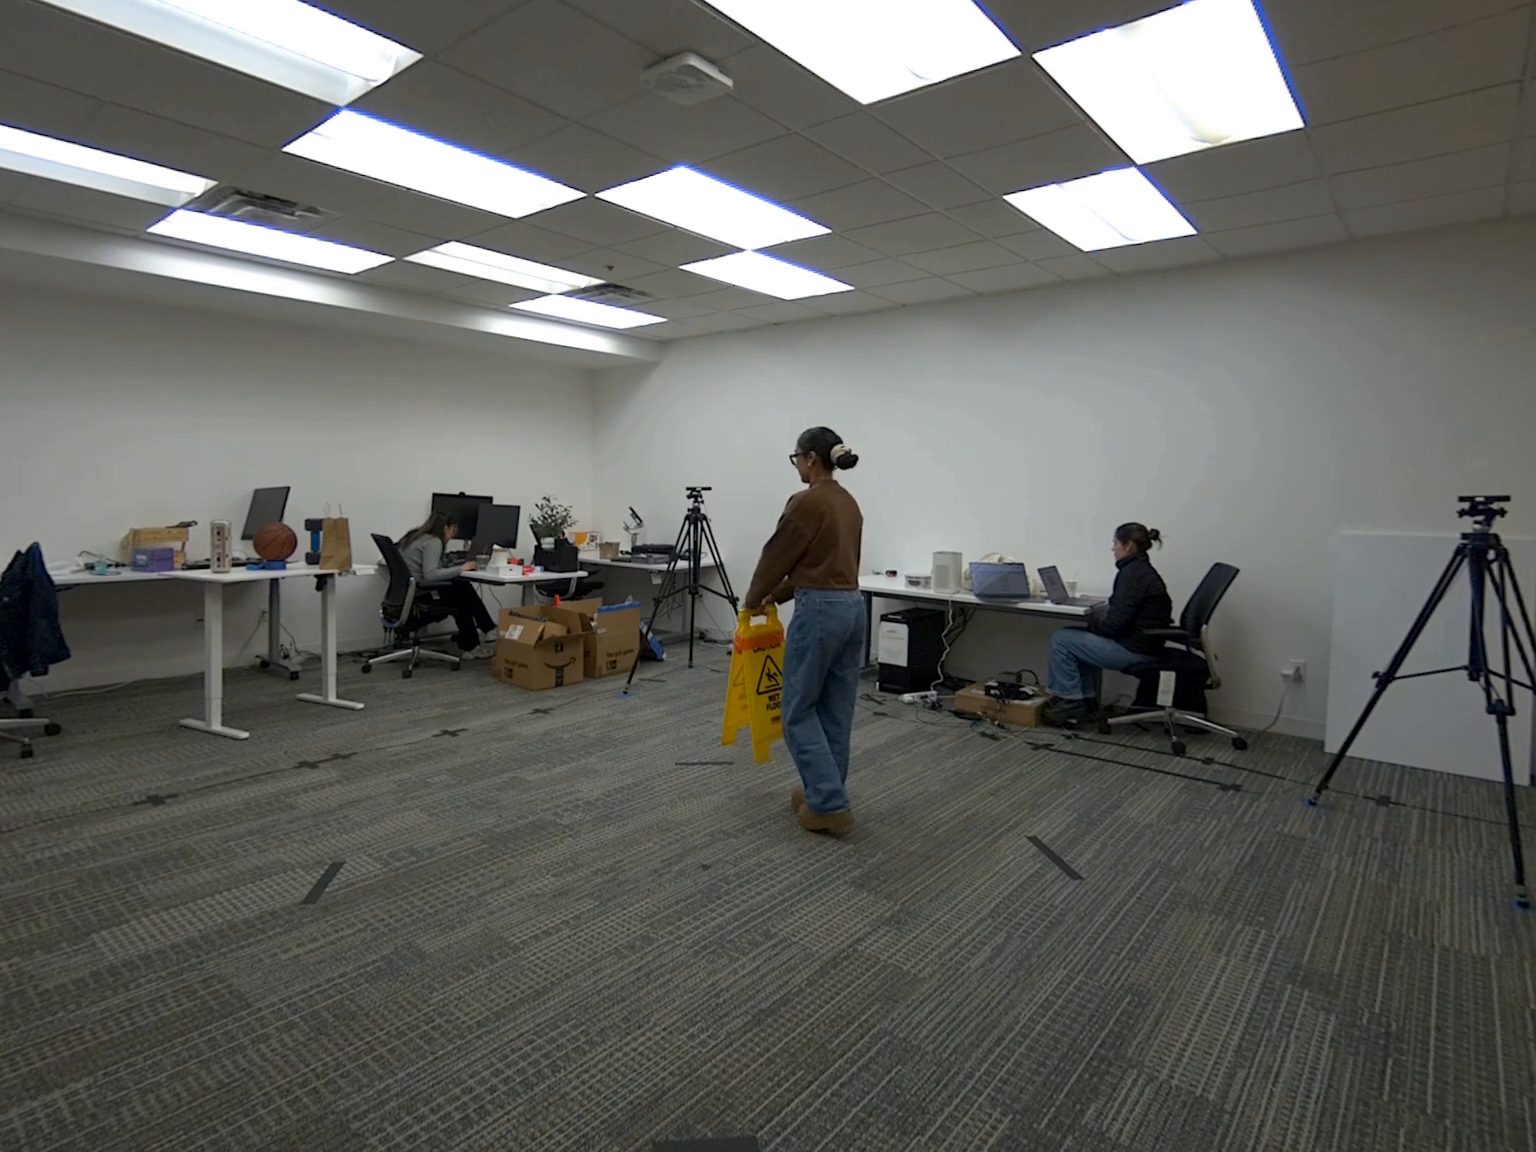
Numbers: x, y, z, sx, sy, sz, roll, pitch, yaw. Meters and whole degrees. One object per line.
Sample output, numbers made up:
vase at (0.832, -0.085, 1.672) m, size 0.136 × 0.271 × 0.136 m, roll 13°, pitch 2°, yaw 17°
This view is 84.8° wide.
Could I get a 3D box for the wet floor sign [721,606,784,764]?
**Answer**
wet floor sign at (-0.048, 0.448, 3.797) m, size 0.275 × 0.642 × 0.299 m, roll -7°, pitch 8°, yaw -35°
